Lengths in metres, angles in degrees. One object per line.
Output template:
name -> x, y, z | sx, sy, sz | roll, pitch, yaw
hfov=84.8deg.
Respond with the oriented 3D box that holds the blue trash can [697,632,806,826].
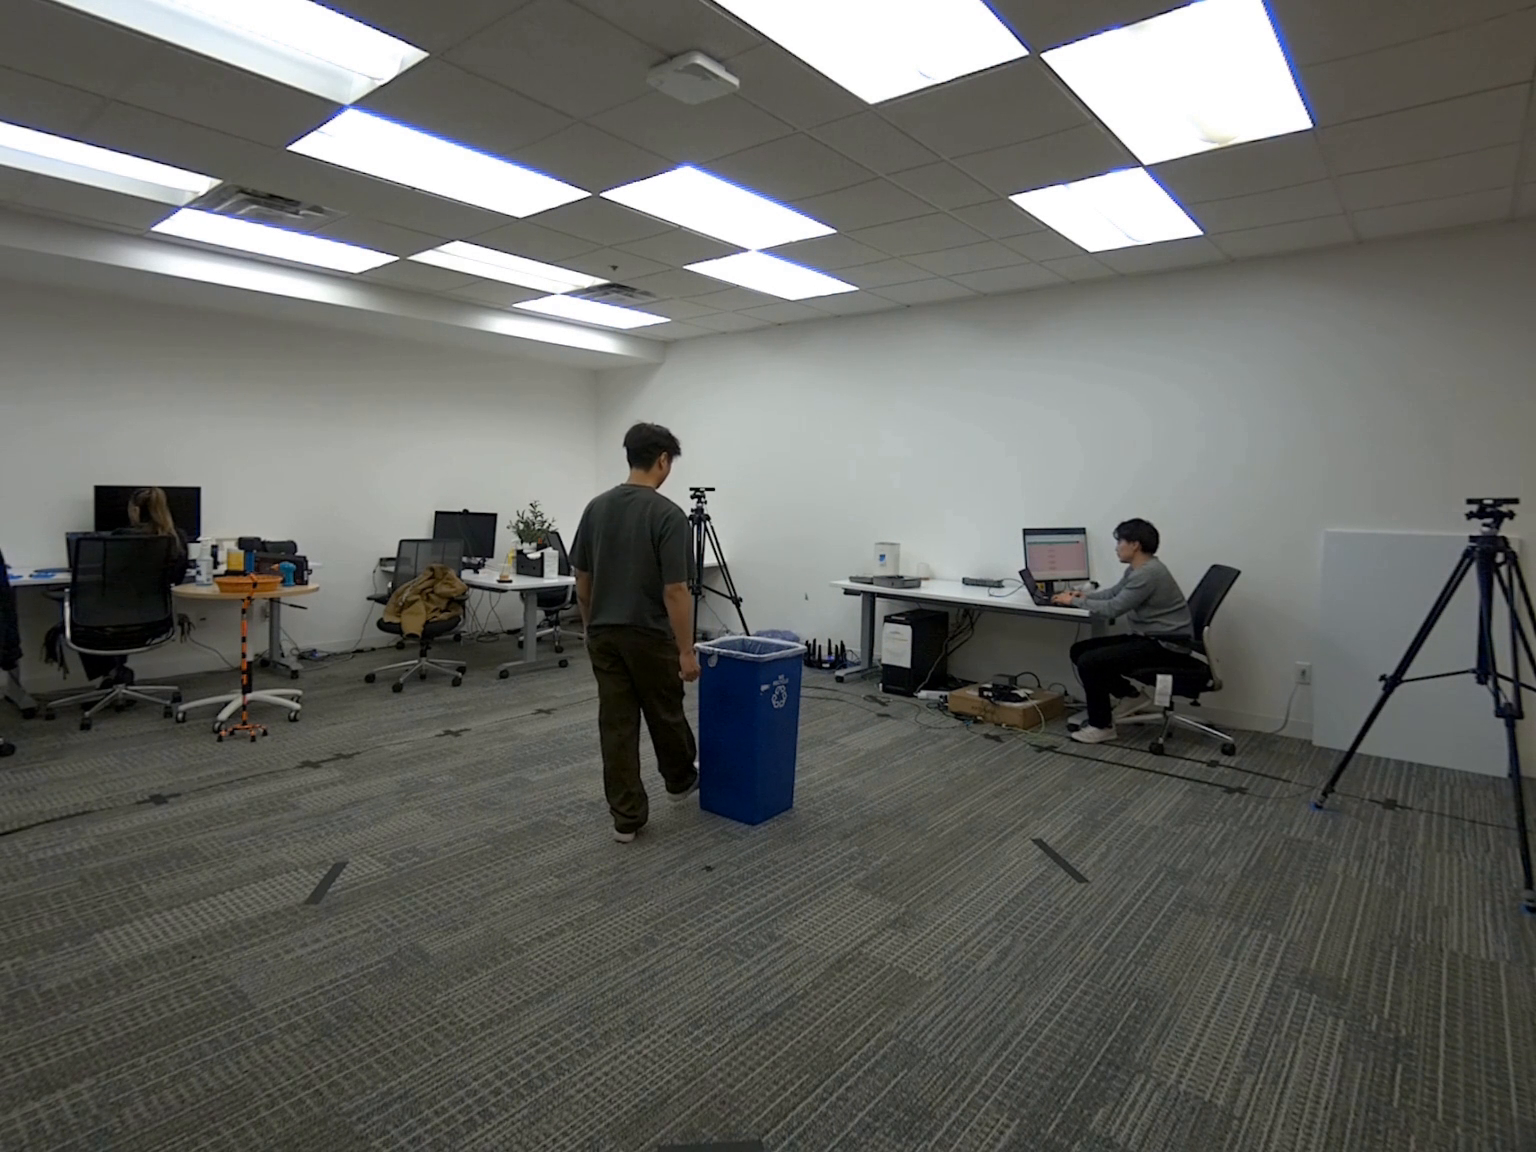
blue trash can -> -0.093, 0.654, 3.707 | 0.386, 0.712, 0.367 | 5, 4, 36
